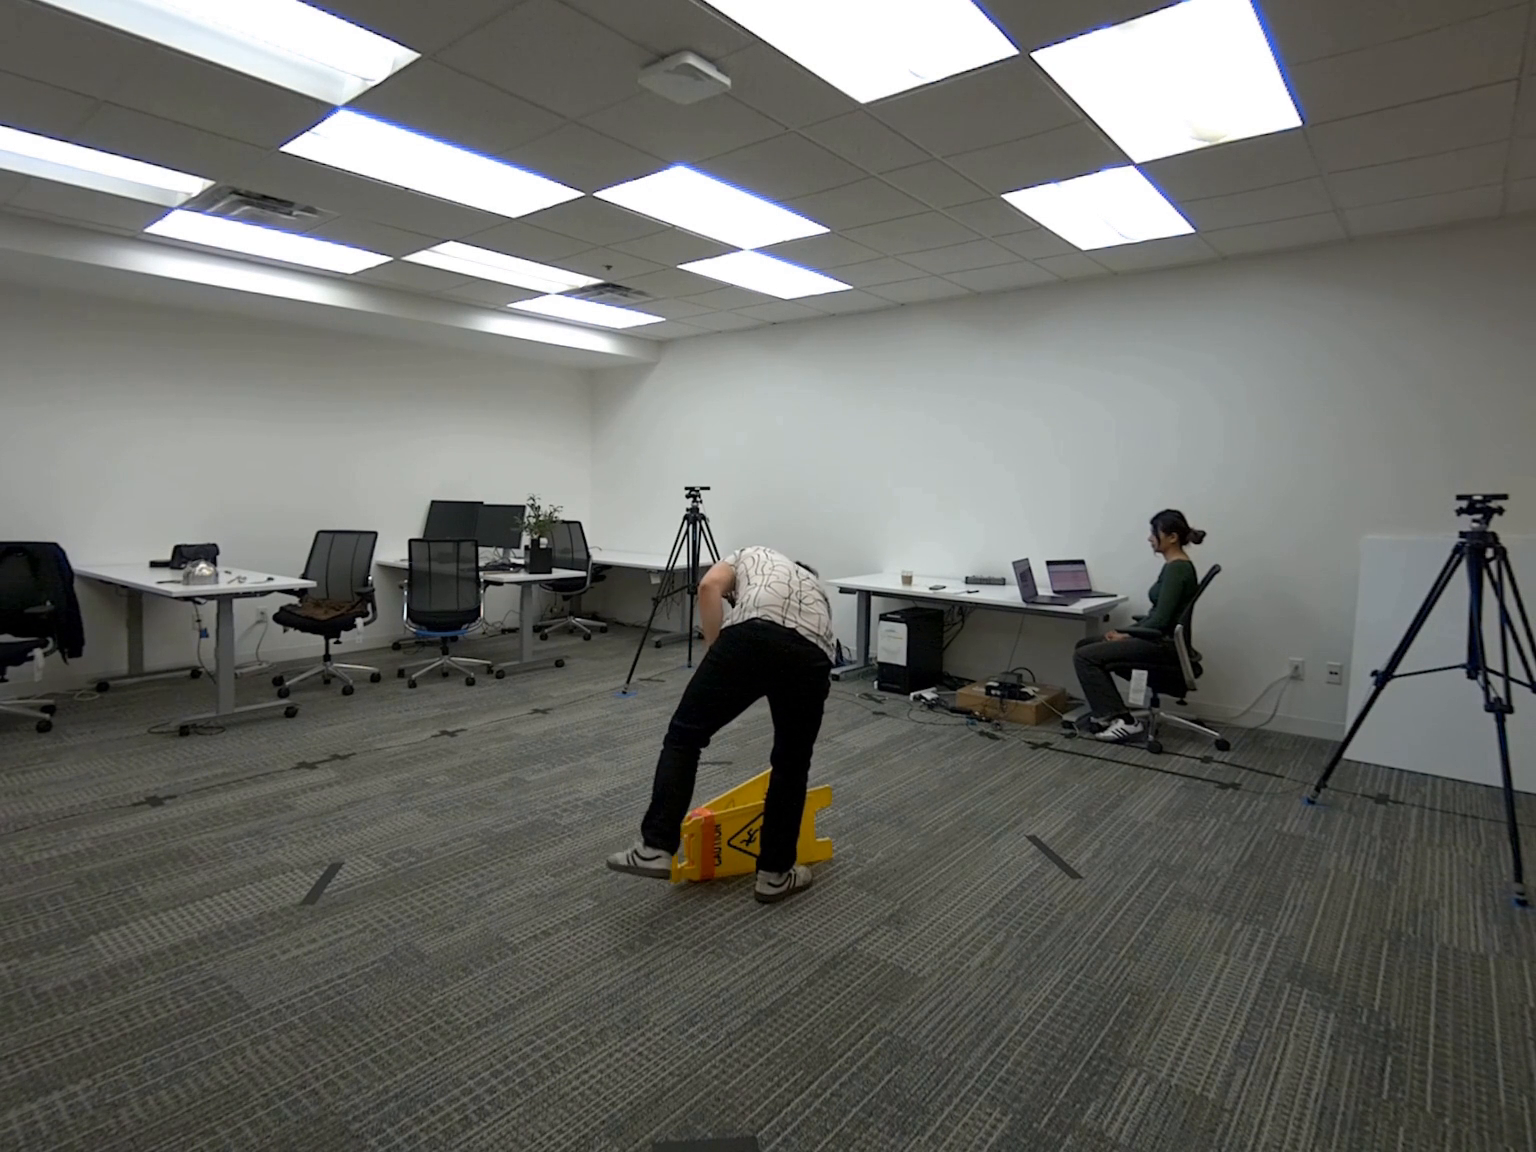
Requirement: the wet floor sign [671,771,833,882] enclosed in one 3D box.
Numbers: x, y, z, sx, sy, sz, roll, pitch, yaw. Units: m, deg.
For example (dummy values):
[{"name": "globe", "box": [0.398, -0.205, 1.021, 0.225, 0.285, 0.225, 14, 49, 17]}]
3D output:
[{"name": "wet floor sign", "box": [-0.106, 0.936, 3.131, 0.628, 0.281, 0.299, -6, 6, -38]}]
